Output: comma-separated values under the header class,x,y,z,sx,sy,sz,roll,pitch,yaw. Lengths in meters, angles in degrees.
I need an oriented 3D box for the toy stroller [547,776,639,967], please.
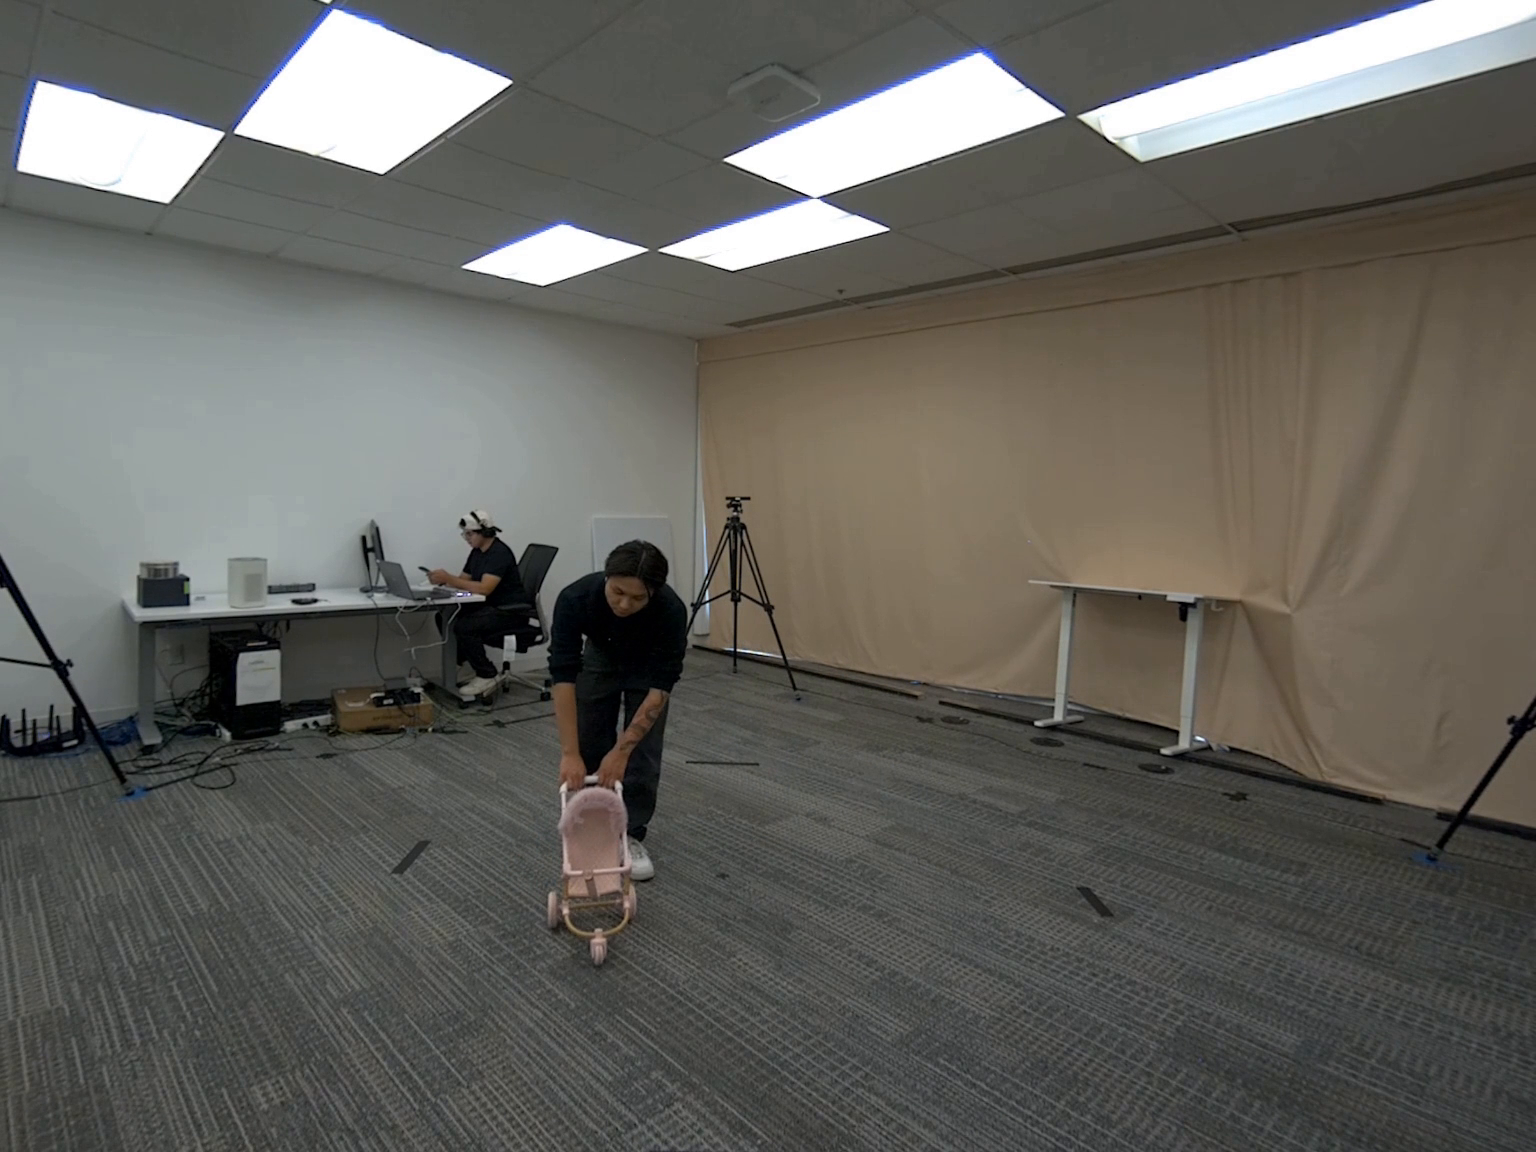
class,x,y,z,sx,sy,sz,roll,pitch,yaw
toy stroller,-0.563,0.914,2.671,0.279,0.540,0.341,0,-12,-13
